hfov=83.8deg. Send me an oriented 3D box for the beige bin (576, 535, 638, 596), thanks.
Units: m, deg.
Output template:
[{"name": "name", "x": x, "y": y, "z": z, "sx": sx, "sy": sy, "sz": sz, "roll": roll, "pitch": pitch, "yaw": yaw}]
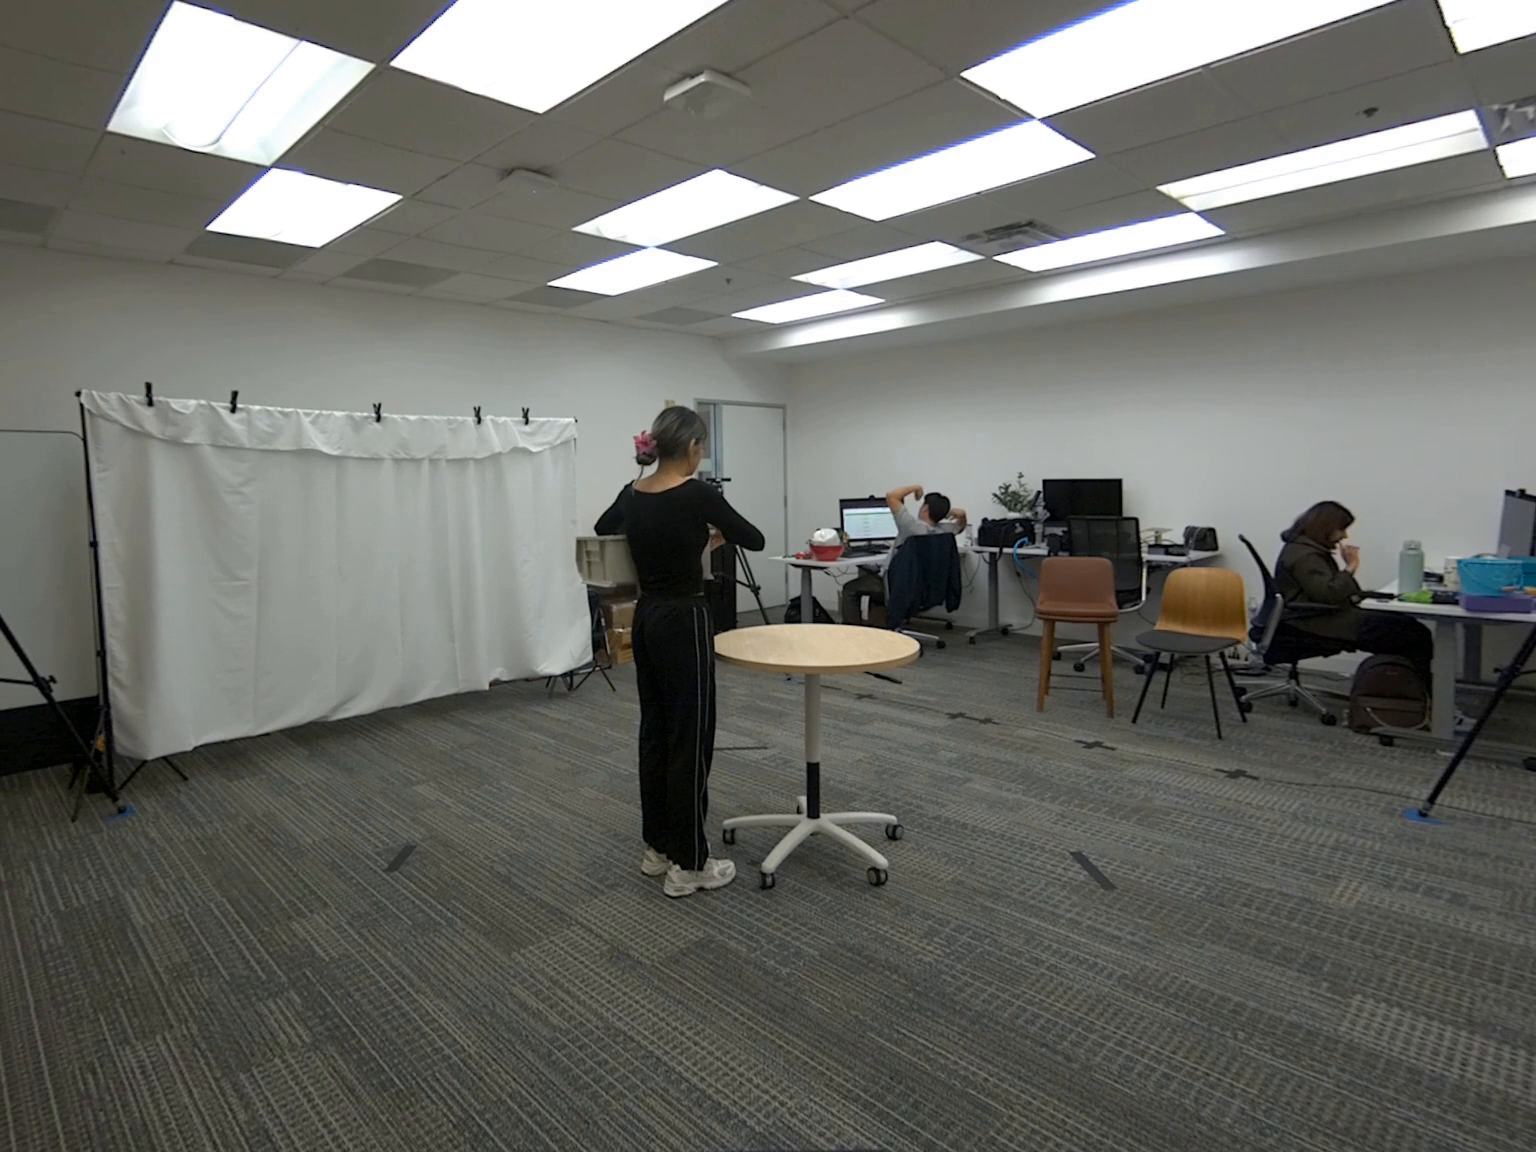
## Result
[{"name": "beige bin", "x": -0.472, "y": -0.072, "z": 3.226, "sx": 0.413, "sy": 0.188, "sz": 0.387, "roll": -4, "pitch": 6, "yaw": -26}]
